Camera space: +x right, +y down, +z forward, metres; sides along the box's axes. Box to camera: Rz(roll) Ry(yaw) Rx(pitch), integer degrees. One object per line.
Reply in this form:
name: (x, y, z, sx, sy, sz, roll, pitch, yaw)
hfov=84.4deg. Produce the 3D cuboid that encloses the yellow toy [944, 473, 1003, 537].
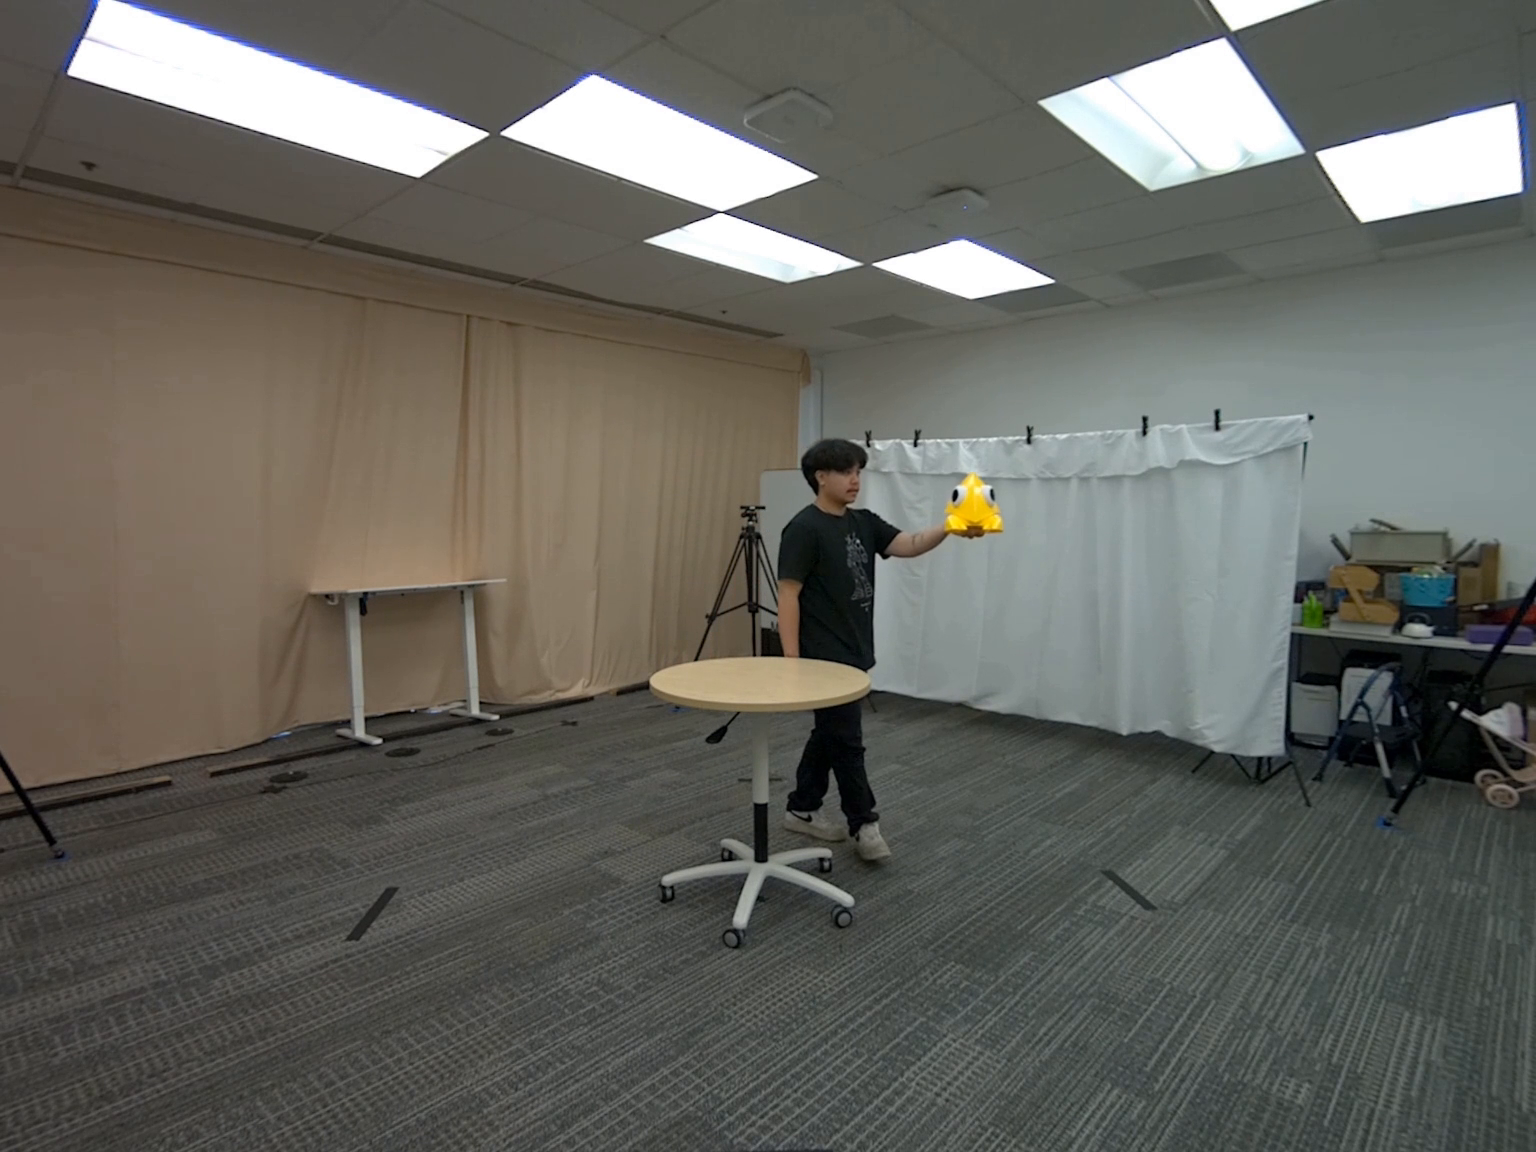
yellow toy: (0.751, -0.275, 3.035, 0.208, 0.231, 0.190, 1, -4, 12)
